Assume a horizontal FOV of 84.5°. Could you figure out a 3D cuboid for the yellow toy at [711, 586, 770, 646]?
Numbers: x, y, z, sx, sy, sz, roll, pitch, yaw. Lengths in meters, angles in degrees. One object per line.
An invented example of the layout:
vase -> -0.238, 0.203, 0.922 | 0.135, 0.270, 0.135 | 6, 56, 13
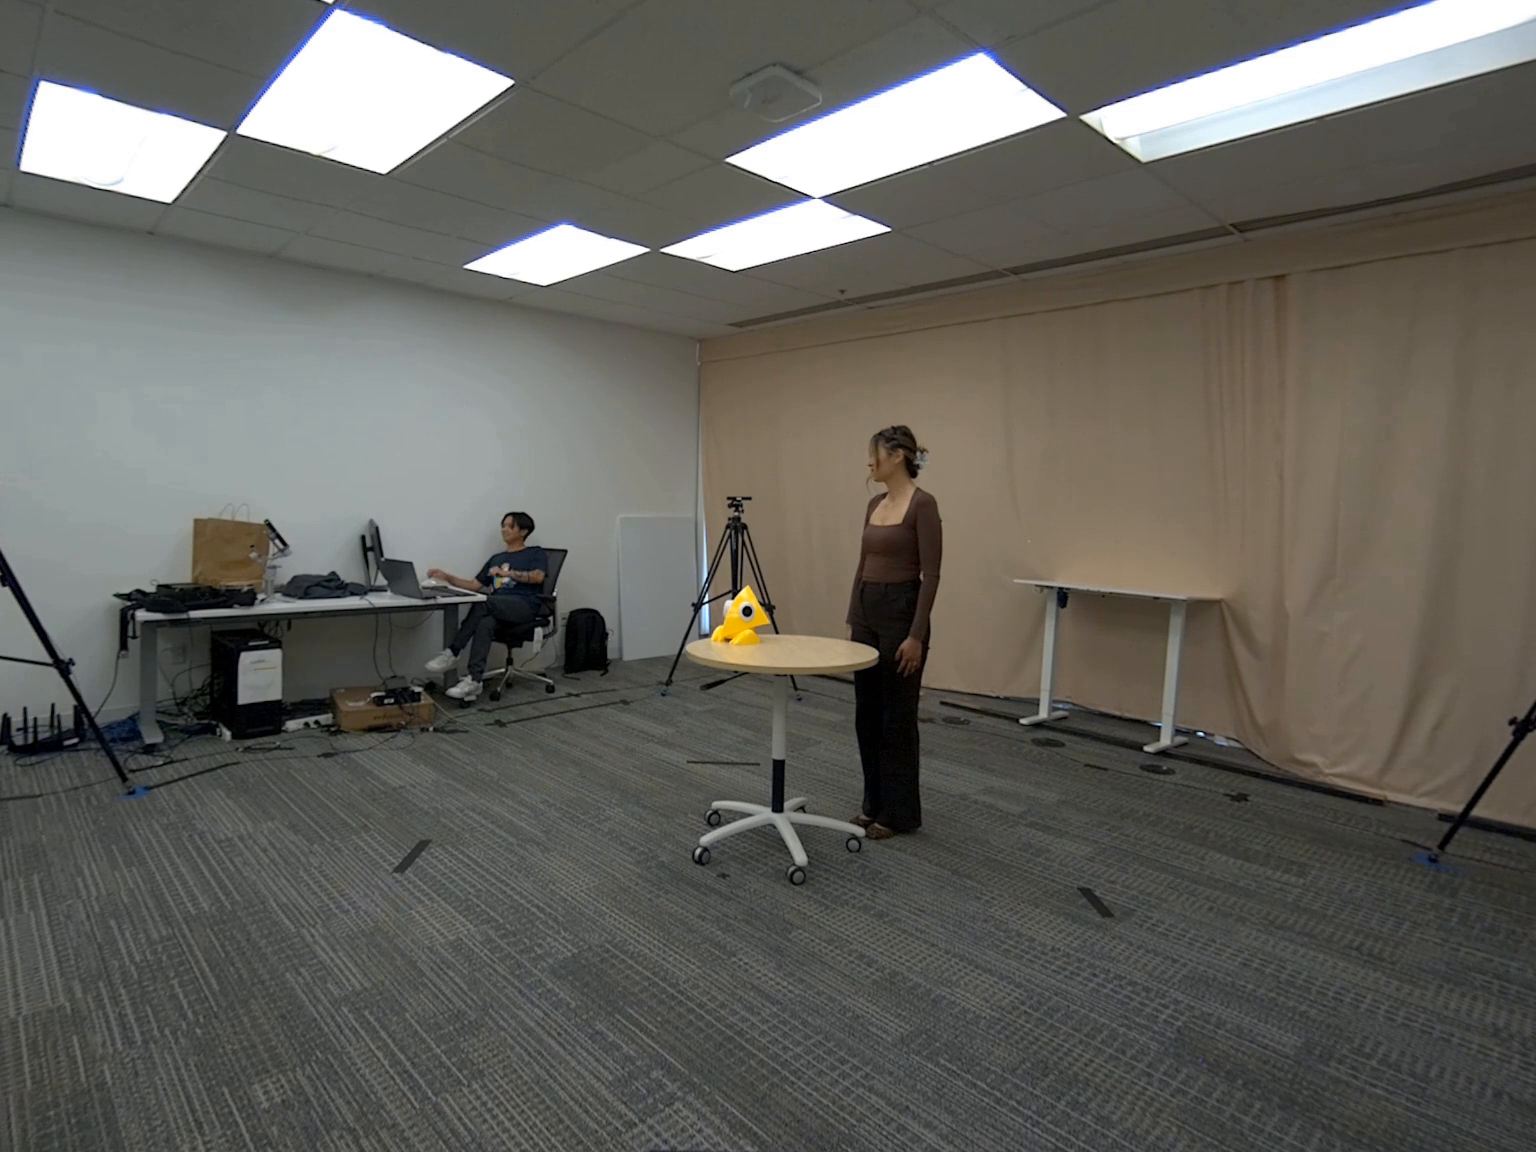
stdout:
yellow toy -> -0.130, 0.157, 3.535 | 0.210, 0.230, 0.189 | 4, 5, 42
